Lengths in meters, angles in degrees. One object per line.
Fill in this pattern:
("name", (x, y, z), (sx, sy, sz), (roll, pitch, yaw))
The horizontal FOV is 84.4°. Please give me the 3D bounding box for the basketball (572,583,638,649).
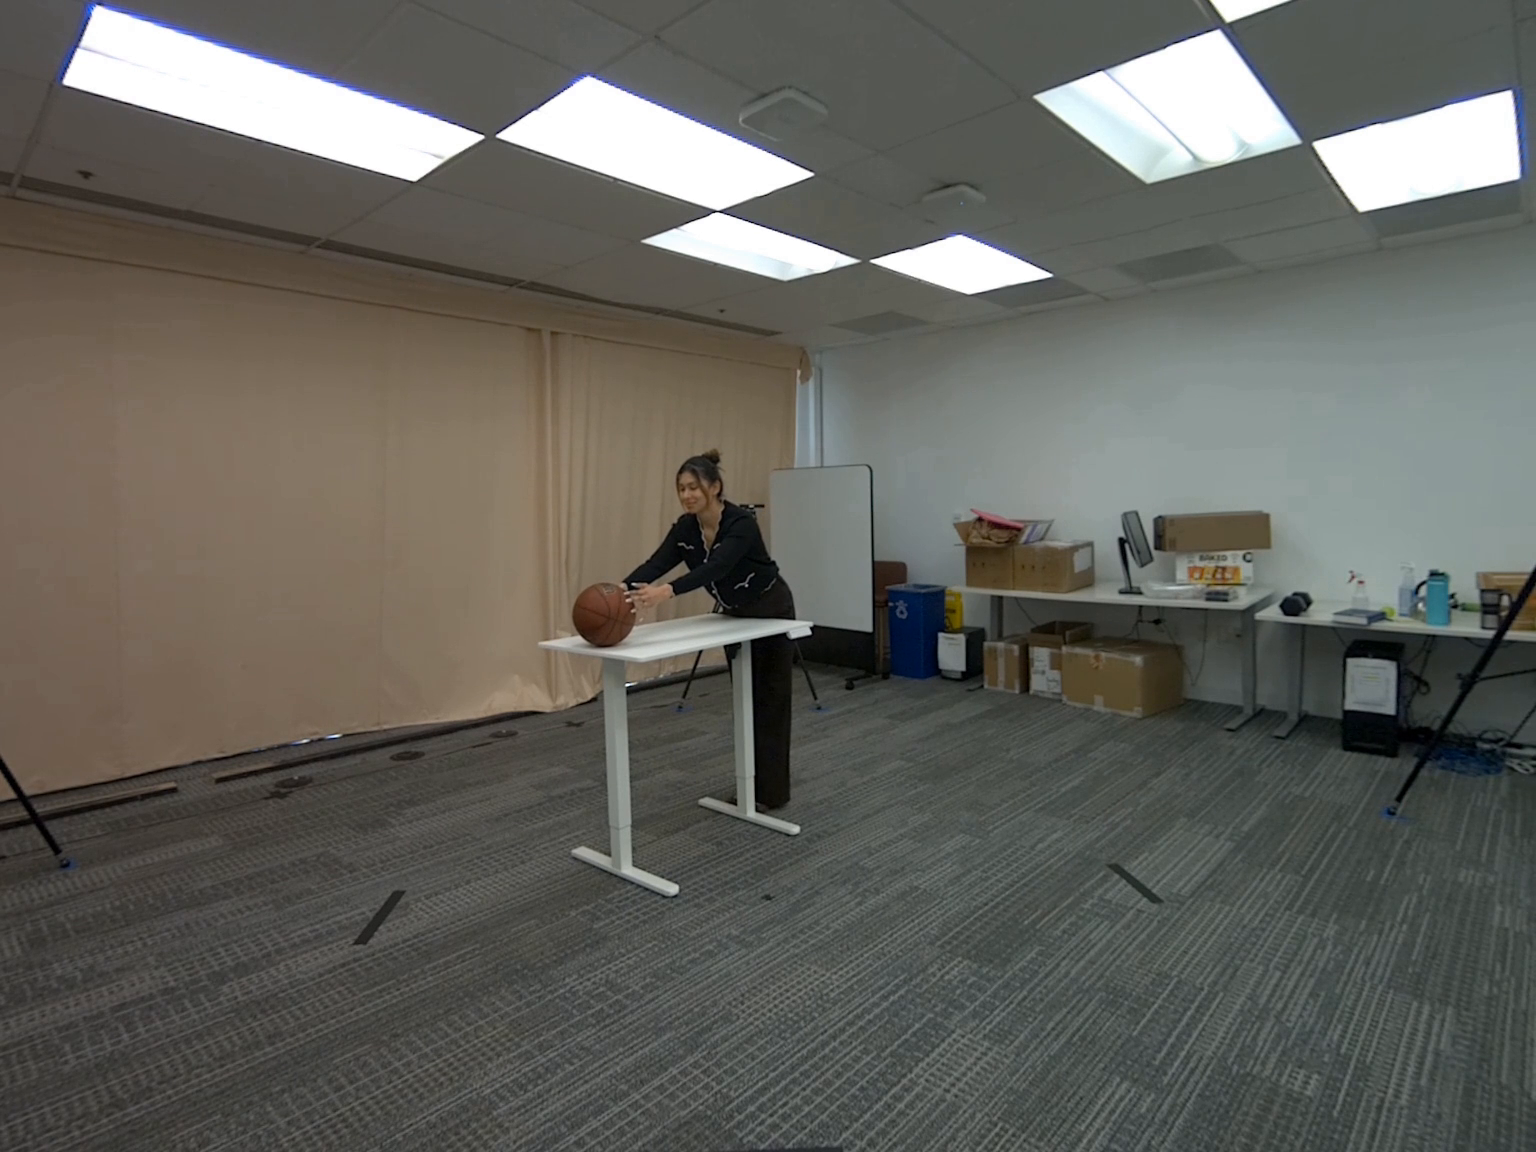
("basketball", (-0.611, 0.141, 3.141), (0.236, 0.235, 0.237), (-1, 4, -2))
